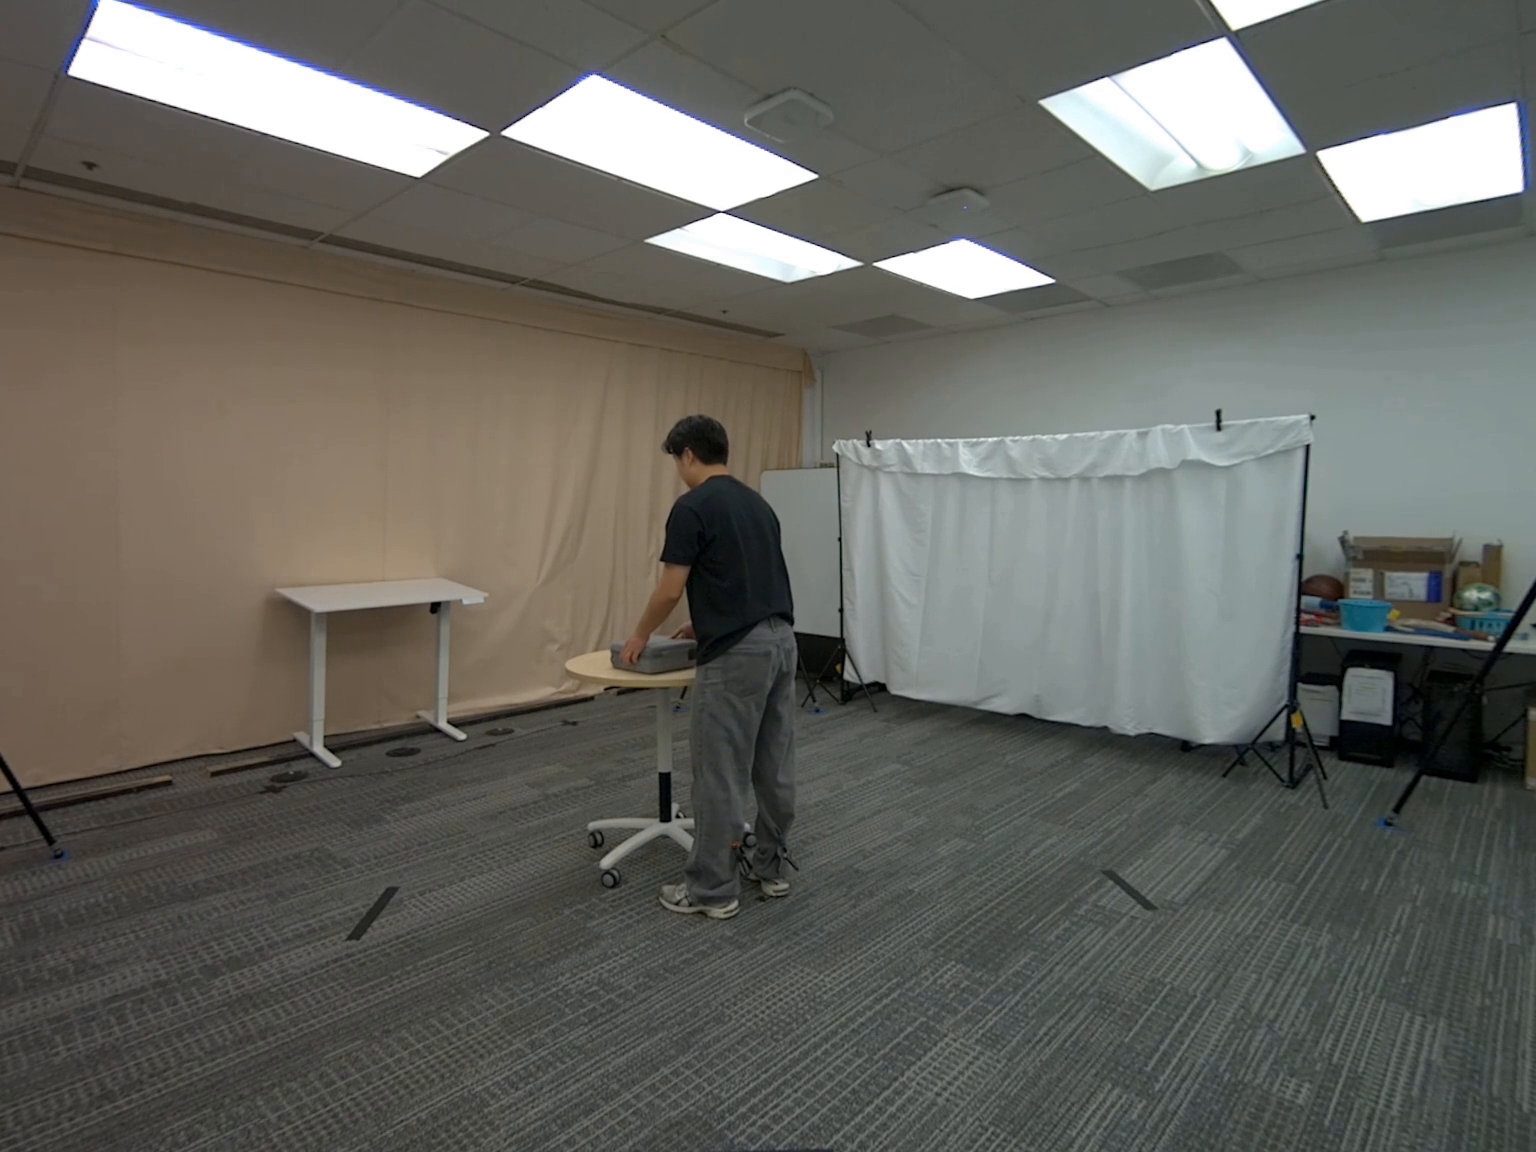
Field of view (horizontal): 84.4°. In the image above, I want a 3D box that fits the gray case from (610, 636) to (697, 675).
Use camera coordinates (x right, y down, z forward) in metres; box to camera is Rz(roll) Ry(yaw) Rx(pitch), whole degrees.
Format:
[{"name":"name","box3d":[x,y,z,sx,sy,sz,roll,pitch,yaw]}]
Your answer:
[{"name":"gray case","box3d":[-0.443,0.297,3.200,0.296,0.103,0.255,2,5,45]}]
